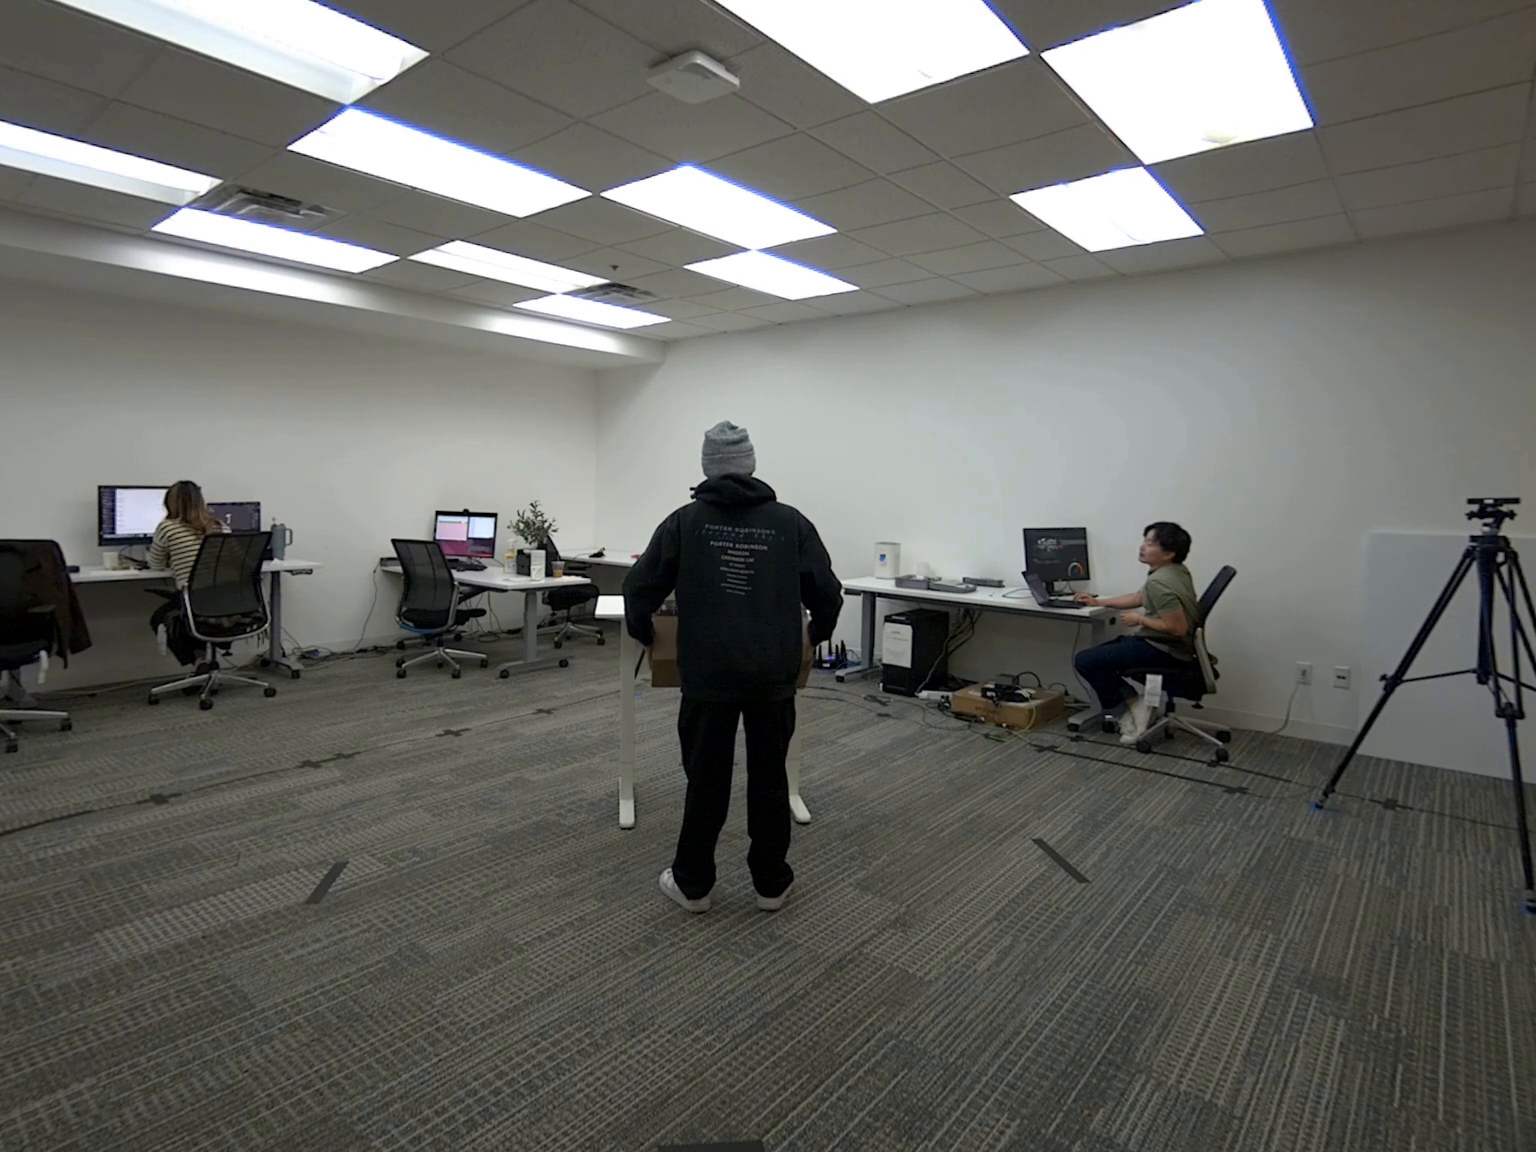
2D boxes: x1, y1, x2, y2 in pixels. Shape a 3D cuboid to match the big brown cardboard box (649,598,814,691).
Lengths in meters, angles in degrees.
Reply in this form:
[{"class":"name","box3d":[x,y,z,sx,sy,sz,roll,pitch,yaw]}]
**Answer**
[{"class":"big brown cardboard box","box3d":[-0.150,0.176,3.142,0.585,0.430,0.228,2,-38,-6]}]
